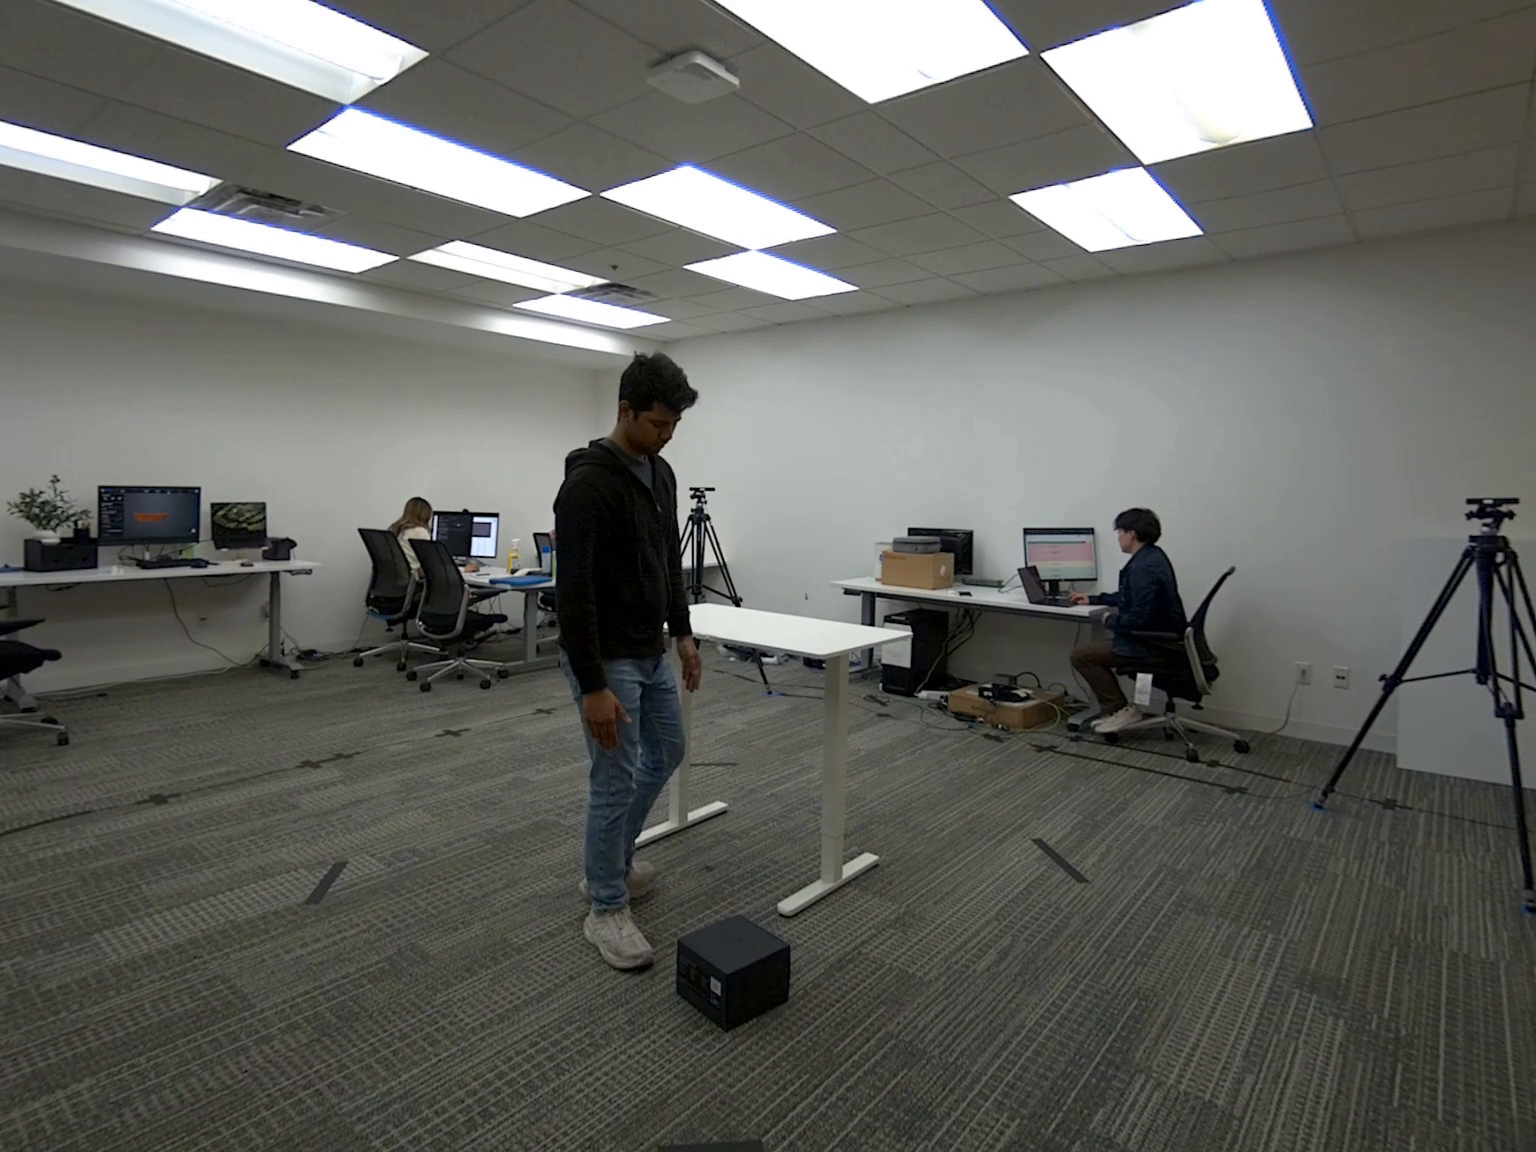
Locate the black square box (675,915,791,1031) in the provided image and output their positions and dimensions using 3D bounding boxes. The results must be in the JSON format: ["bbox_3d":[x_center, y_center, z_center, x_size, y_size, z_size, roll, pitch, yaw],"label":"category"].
[{"bbox_3d":[-0.102,1.065,2.317,0.221,0.155,0.224,-3,7,-42],"label":"black square box"}]
